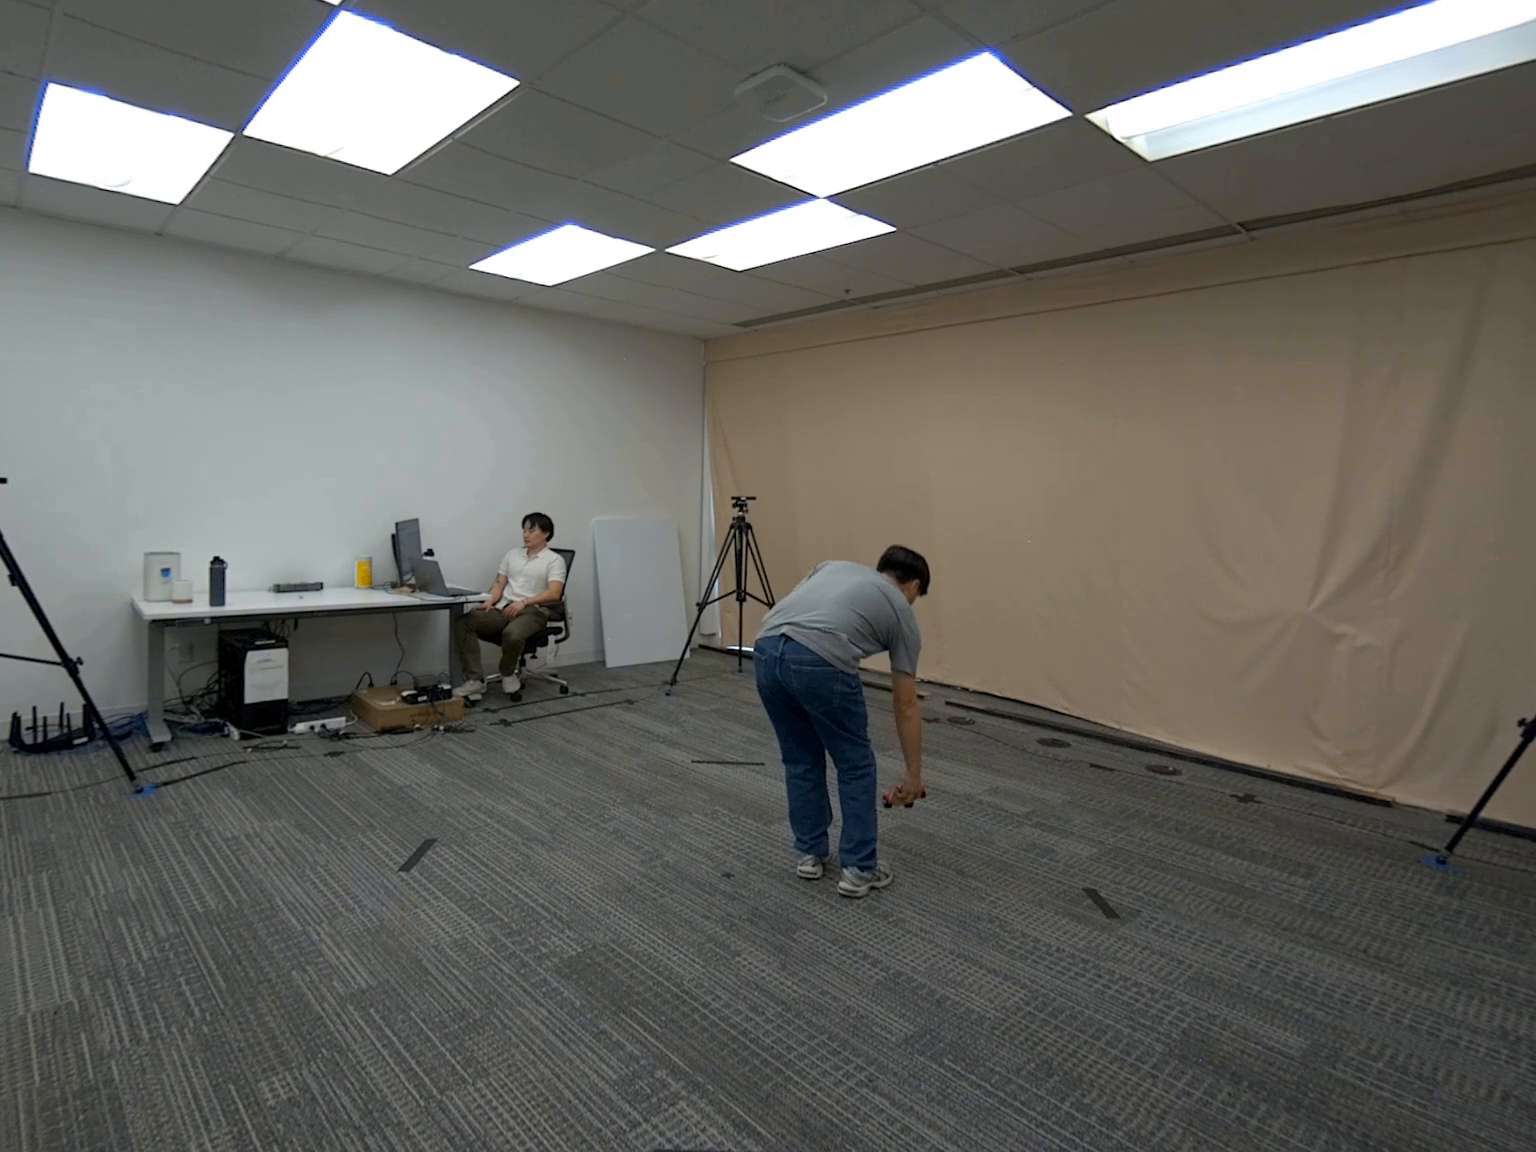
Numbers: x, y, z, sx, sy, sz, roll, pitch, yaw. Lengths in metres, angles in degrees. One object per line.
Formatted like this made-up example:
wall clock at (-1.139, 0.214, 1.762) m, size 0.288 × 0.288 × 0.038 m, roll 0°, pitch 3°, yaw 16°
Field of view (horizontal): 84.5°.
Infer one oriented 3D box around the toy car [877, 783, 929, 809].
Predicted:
toy car at (0.517, 0.865, 3.330) m, size 0.129 × 0.084 × 0.253 m, roll 3°, pitch -18°, yaw -11°
